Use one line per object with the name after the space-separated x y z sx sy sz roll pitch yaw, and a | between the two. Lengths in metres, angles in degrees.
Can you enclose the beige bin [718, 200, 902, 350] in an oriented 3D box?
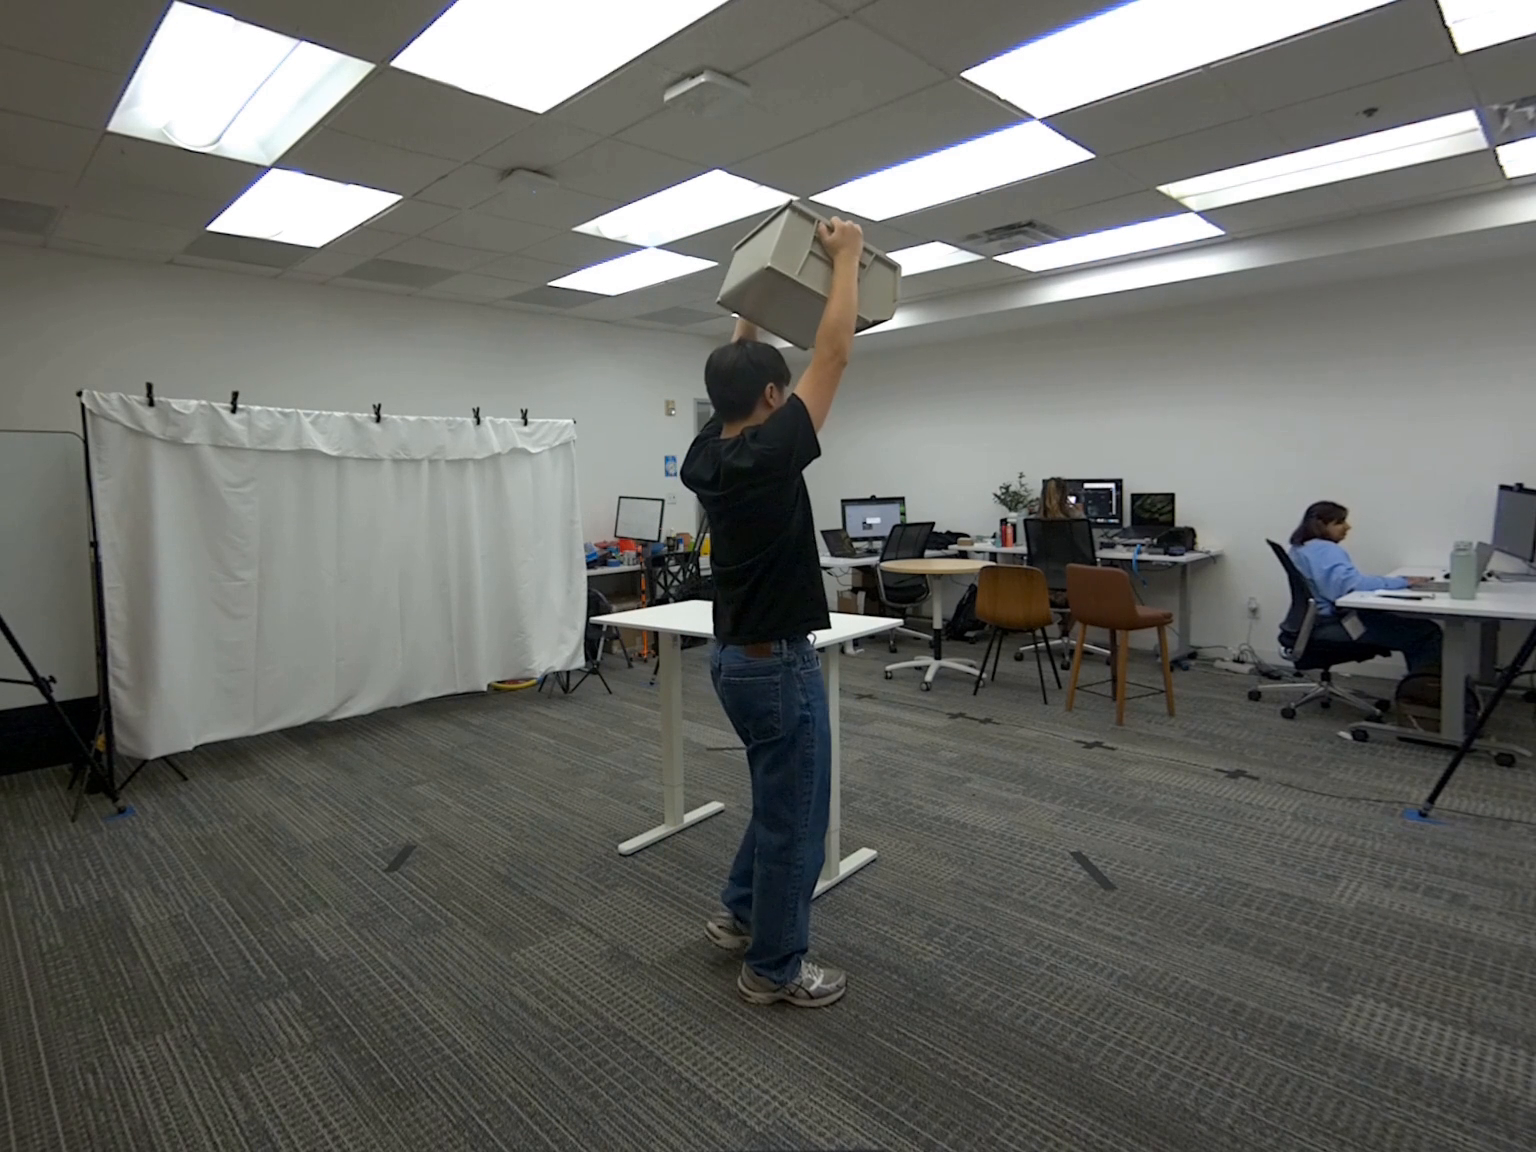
0.111 -0.797 2.361 0.368 0.189 0.431 23 -5 -21 | beige bin
